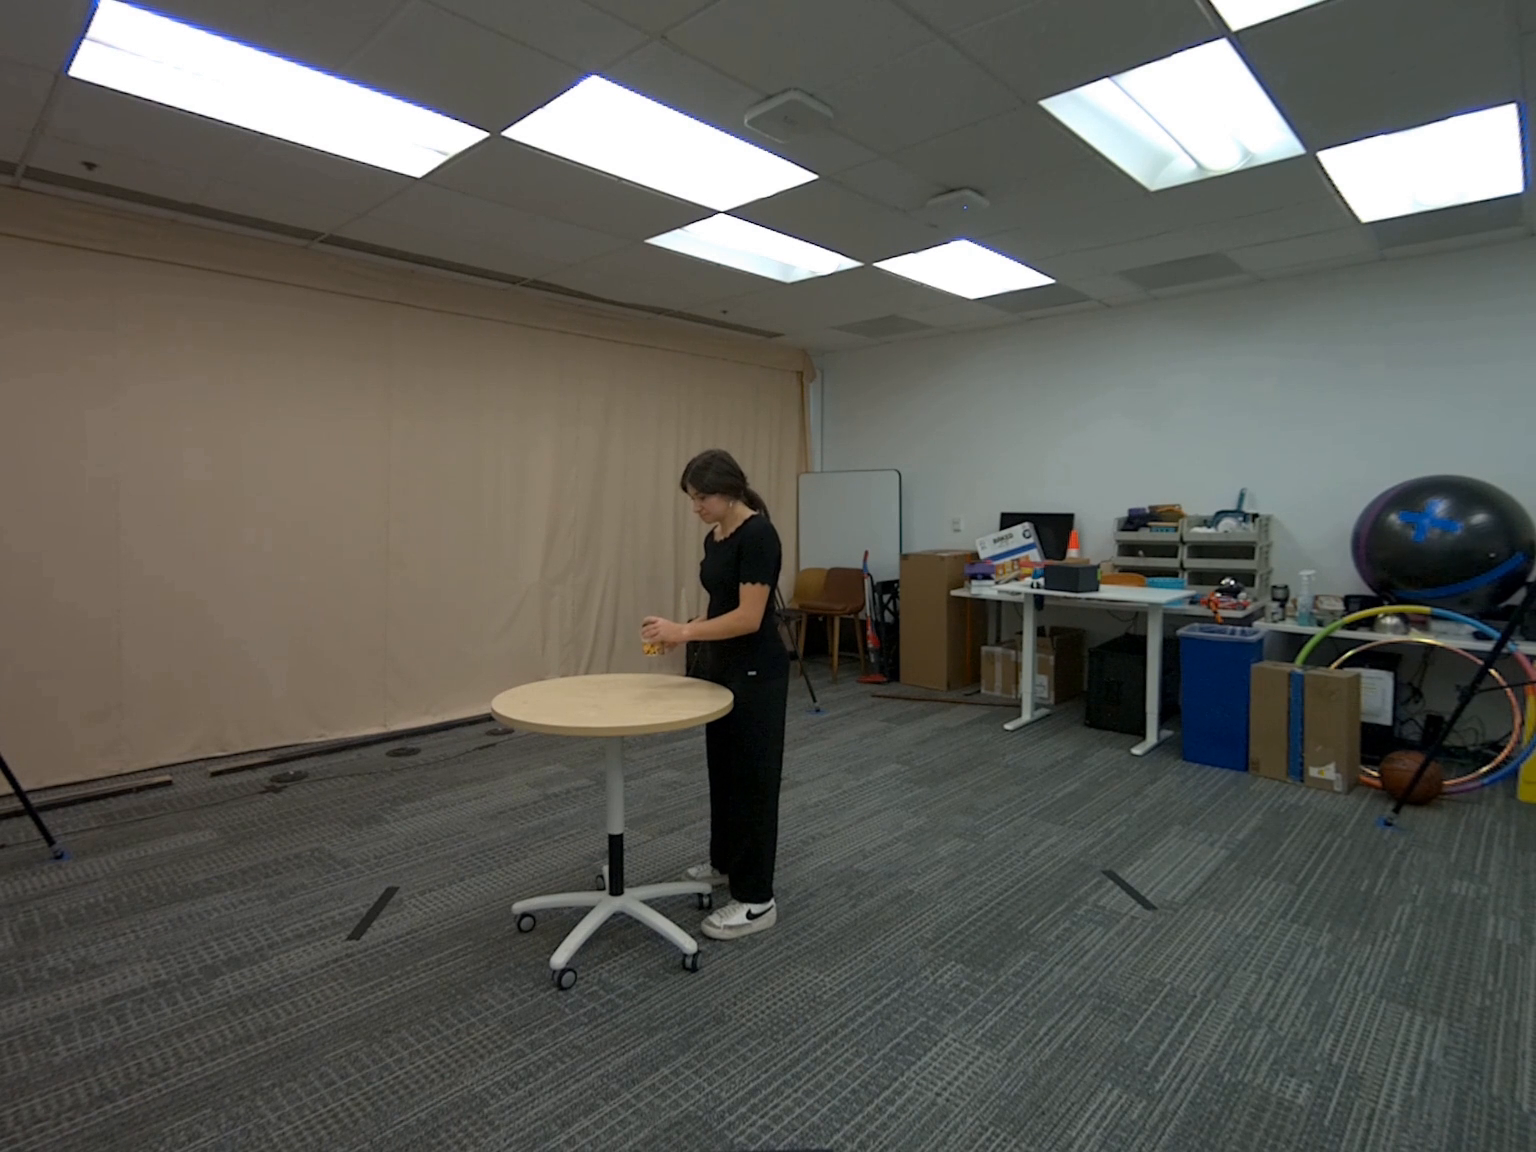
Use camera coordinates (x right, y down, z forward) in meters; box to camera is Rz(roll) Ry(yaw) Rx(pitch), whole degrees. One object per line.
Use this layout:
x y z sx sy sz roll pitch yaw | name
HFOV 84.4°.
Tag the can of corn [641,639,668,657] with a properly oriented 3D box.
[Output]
-0.377 0.202 2.776 0.074 0.111 0.074 -1 2 -2 | can of corn
